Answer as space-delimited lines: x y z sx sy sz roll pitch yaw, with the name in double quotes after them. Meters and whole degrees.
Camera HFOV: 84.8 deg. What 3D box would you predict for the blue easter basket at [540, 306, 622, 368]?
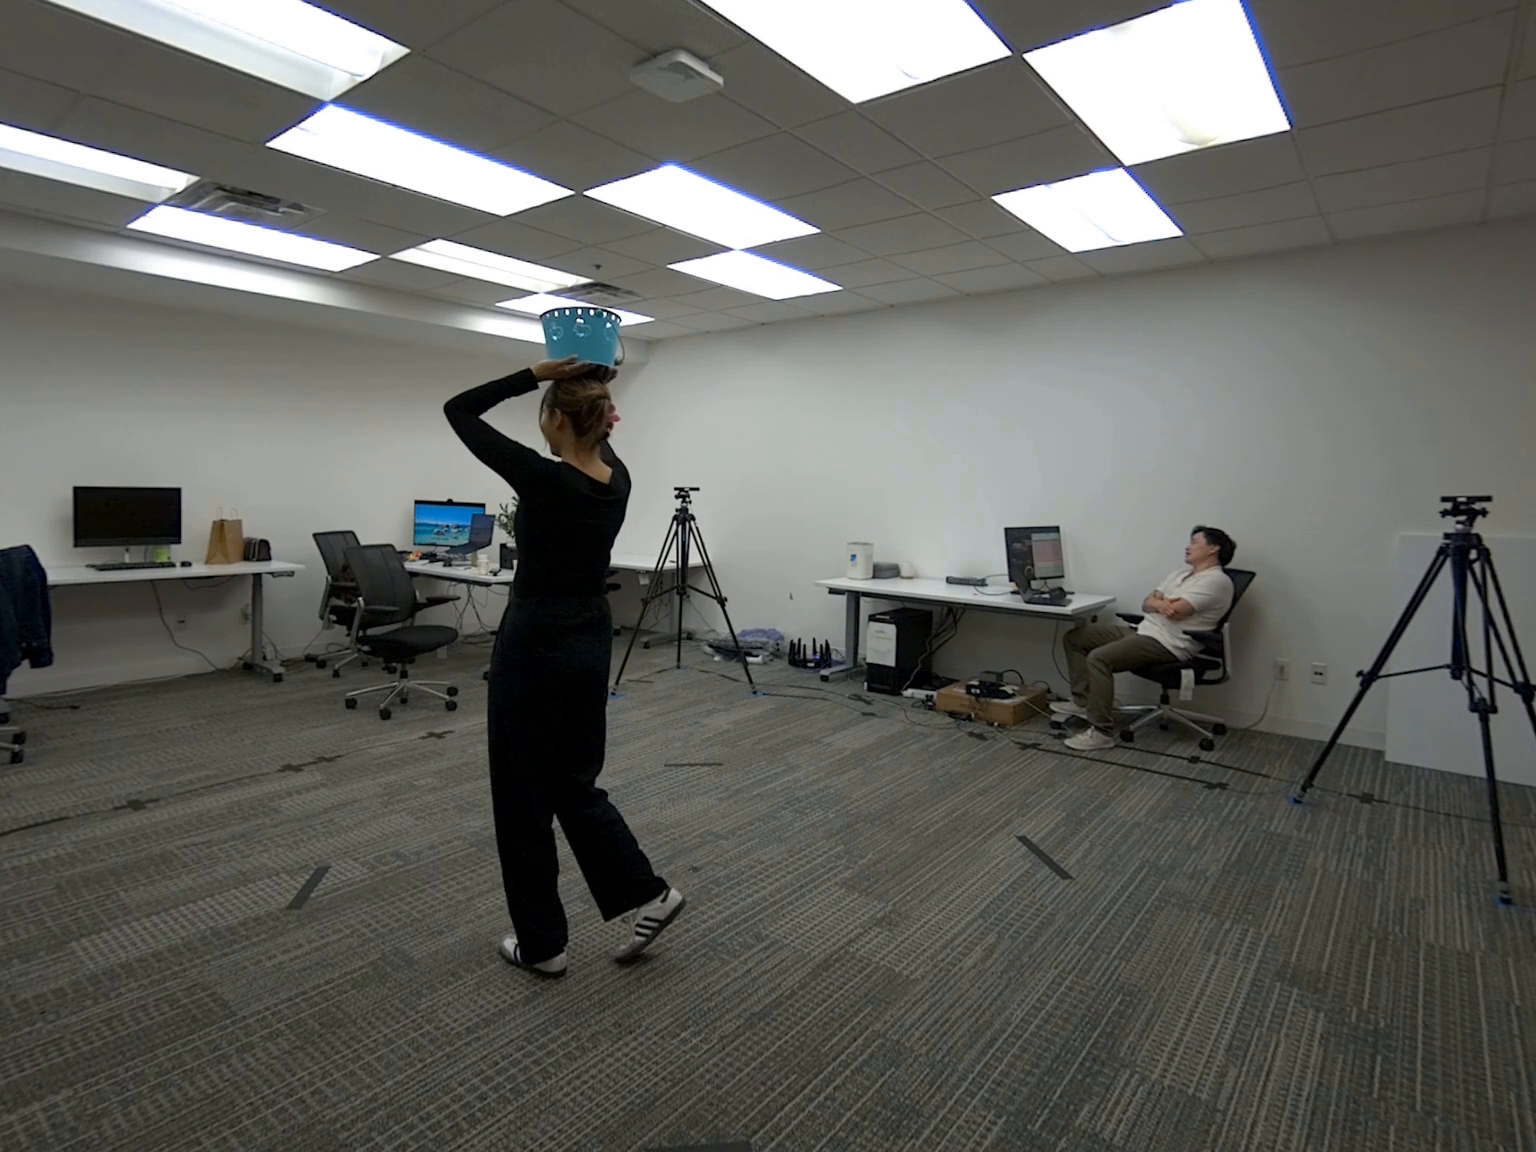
-0.535 -0.665 2.412 0.243 0.156 0.244 -1 1 -2 "blue easter basket"
